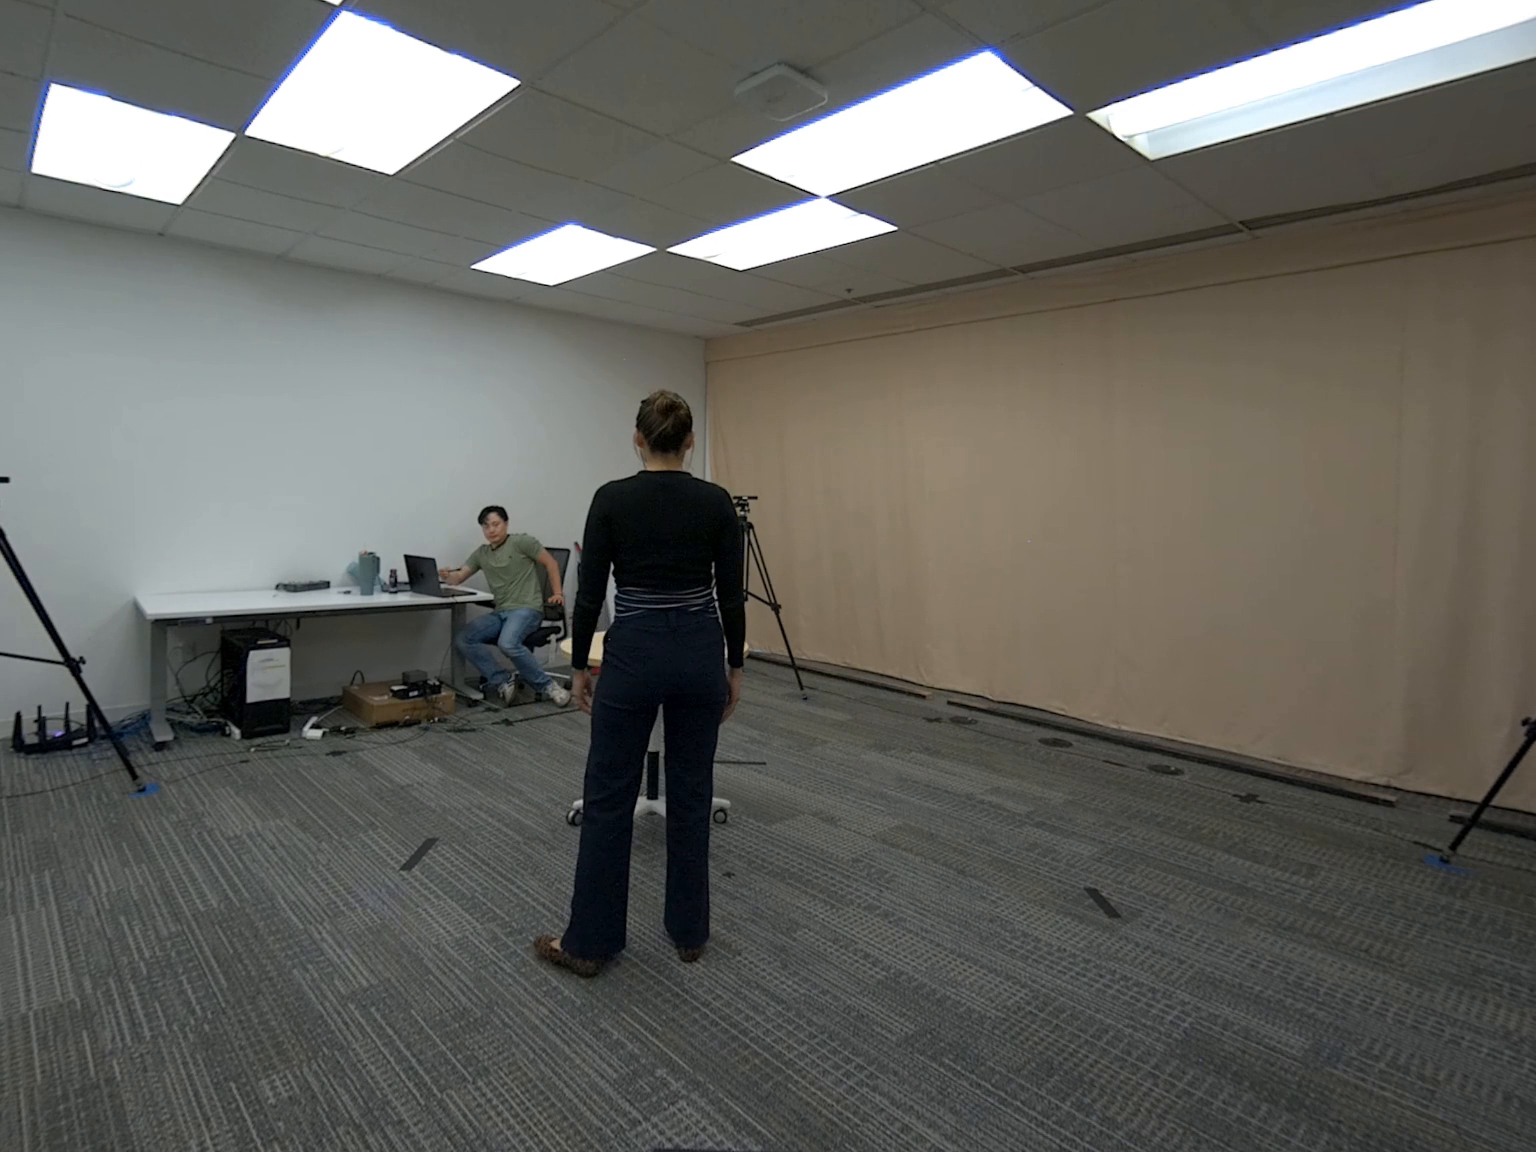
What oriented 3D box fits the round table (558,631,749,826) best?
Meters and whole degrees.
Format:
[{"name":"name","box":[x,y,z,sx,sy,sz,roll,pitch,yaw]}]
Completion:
[{"name":"round table","box":[-0.480,0.681,3.461,0.763,0.792,0.766,1,4,-1]}]
